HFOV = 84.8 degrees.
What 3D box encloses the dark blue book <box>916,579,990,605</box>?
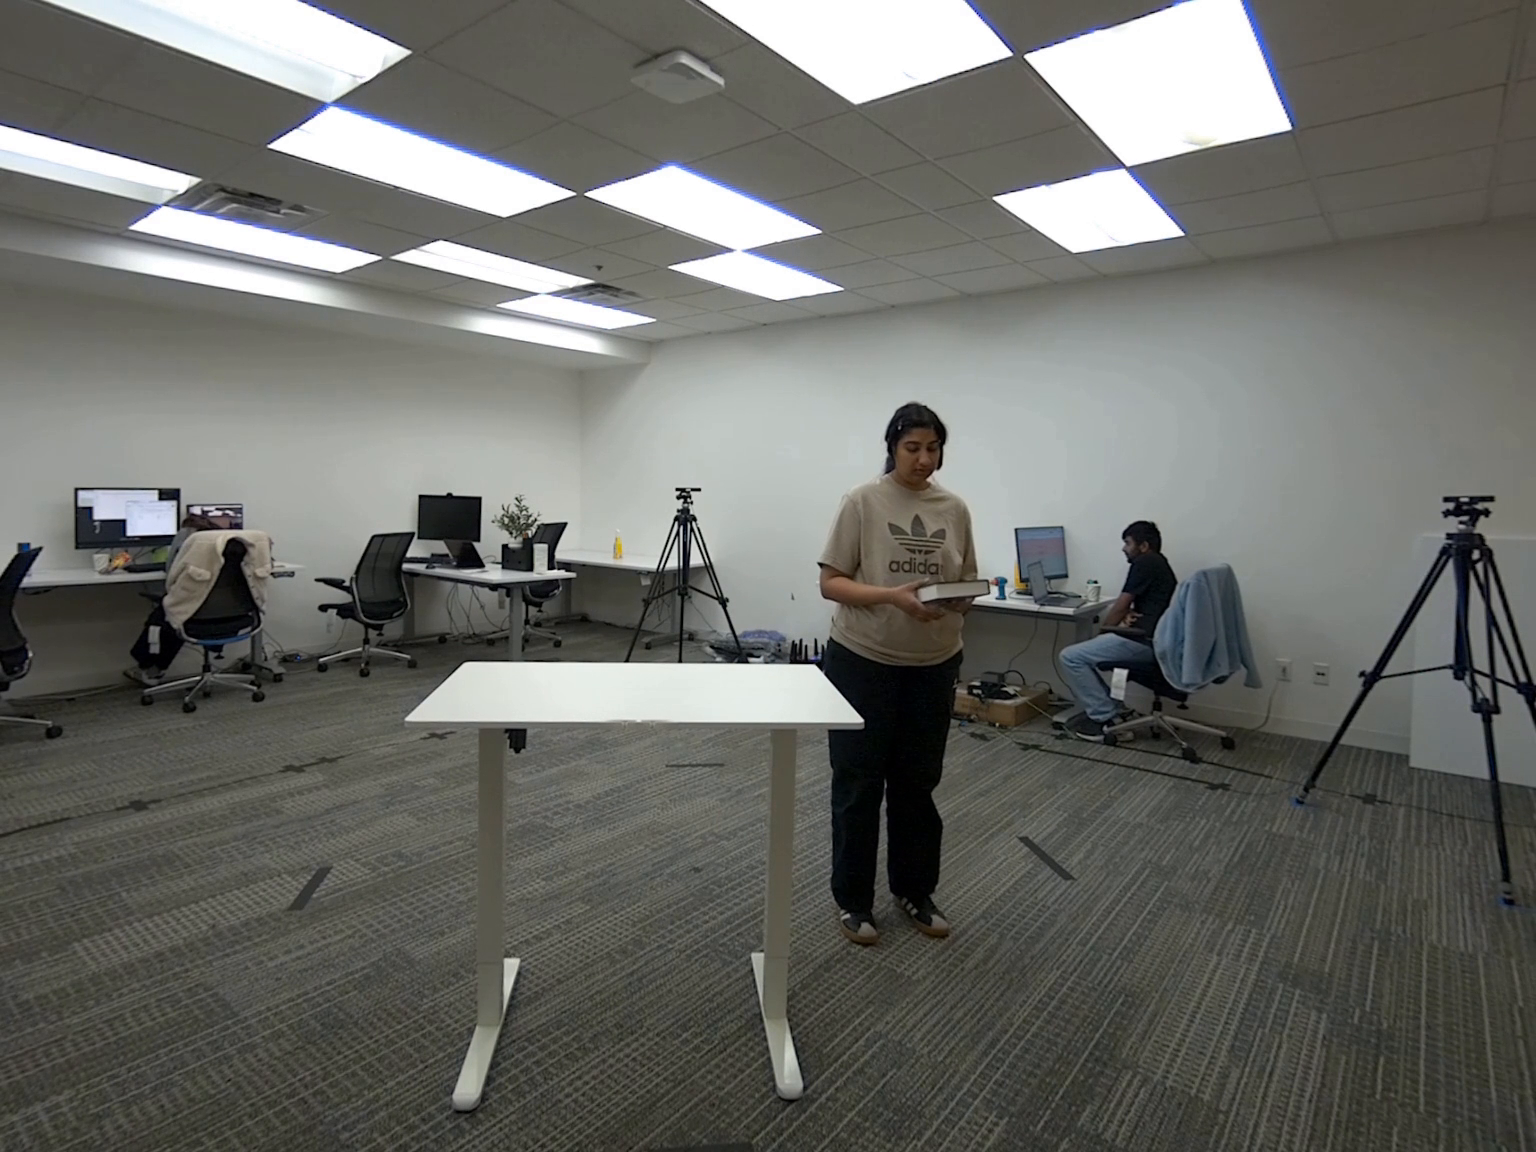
[{"bbox_3d":[0.506,0.046,2.461,0.162,0.045,0.246,0,-6,-10],"label":"dark blue book"}]
